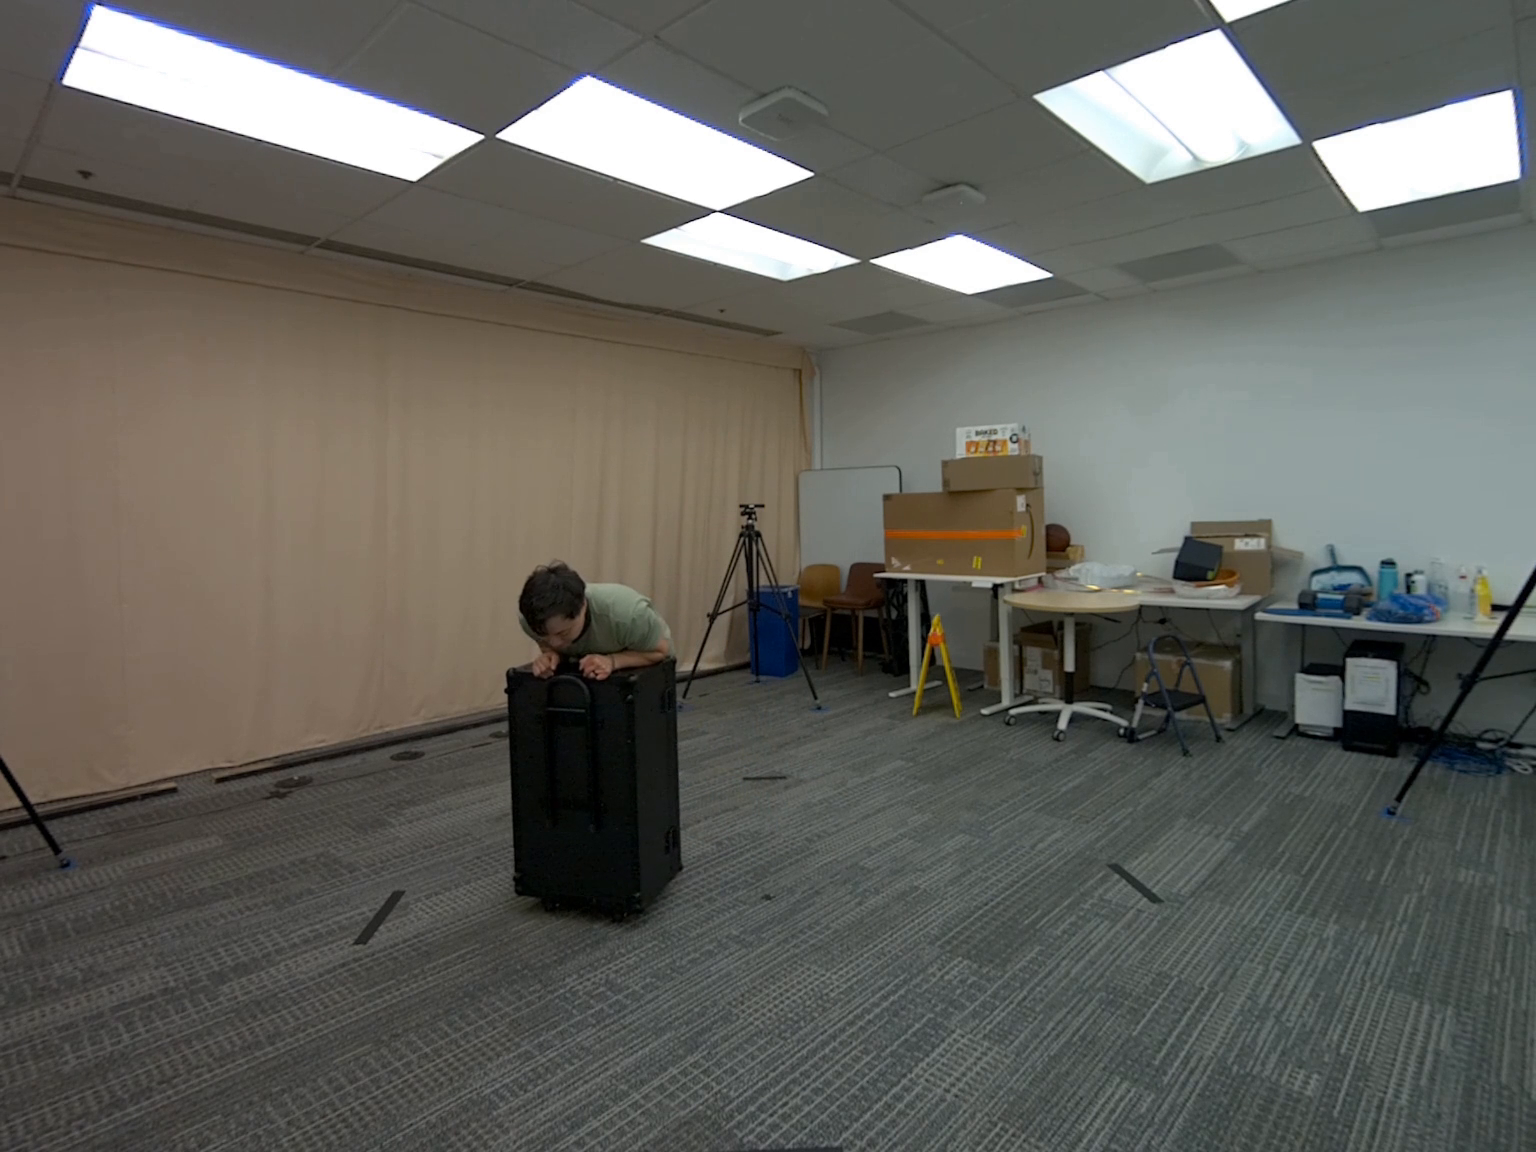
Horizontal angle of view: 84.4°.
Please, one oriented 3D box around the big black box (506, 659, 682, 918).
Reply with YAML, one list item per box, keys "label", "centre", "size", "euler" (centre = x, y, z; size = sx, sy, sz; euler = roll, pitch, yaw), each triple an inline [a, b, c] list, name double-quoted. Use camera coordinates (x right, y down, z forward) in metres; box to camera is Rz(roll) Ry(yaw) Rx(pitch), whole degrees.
- label: "big black box"
  centre: [-0.591, 0.738, 2.943]
  size: [0.531, 0.859, 0.390]
  euler: [-1, 4, 17]
